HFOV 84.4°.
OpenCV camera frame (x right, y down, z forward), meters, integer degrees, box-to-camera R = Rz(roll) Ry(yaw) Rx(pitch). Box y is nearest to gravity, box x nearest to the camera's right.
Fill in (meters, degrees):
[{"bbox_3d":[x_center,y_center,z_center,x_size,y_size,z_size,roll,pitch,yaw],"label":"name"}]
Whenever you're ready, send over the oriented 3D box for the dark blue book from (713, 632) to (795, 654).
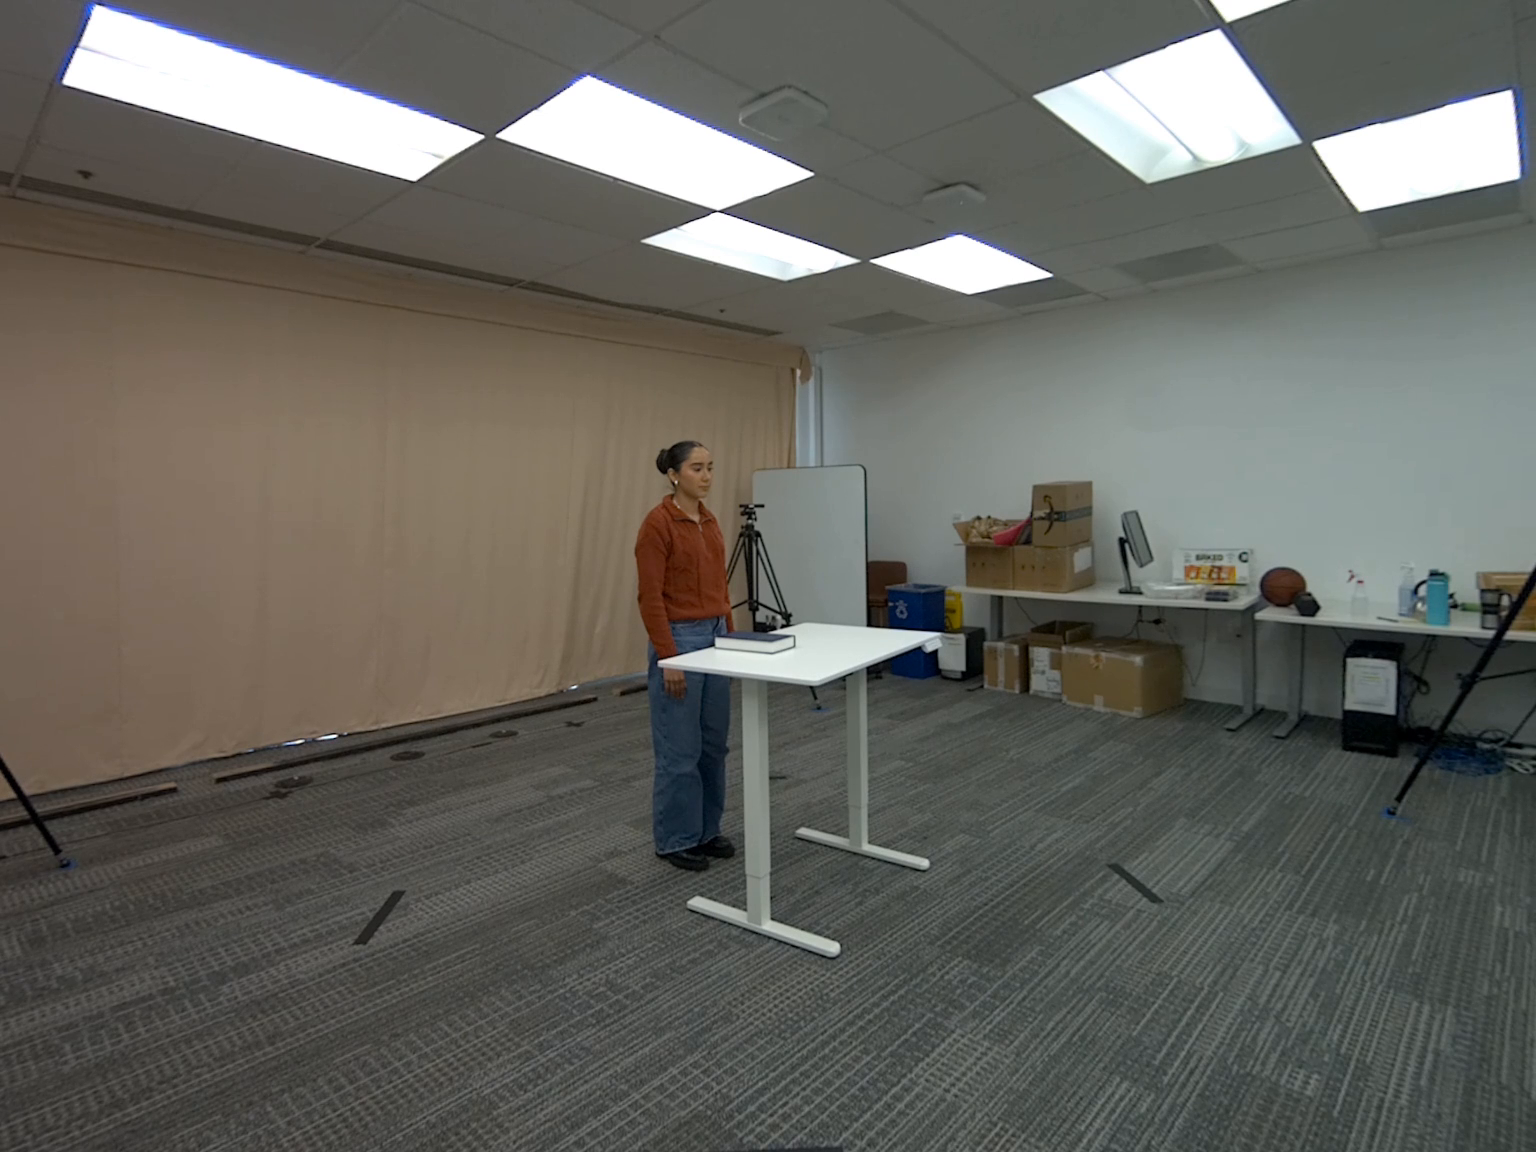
[{"bbox_3d":[-0.046,0.238,3.001,0.252,0.045,0.159,2,5,32],"label":"dark blue book"}]
